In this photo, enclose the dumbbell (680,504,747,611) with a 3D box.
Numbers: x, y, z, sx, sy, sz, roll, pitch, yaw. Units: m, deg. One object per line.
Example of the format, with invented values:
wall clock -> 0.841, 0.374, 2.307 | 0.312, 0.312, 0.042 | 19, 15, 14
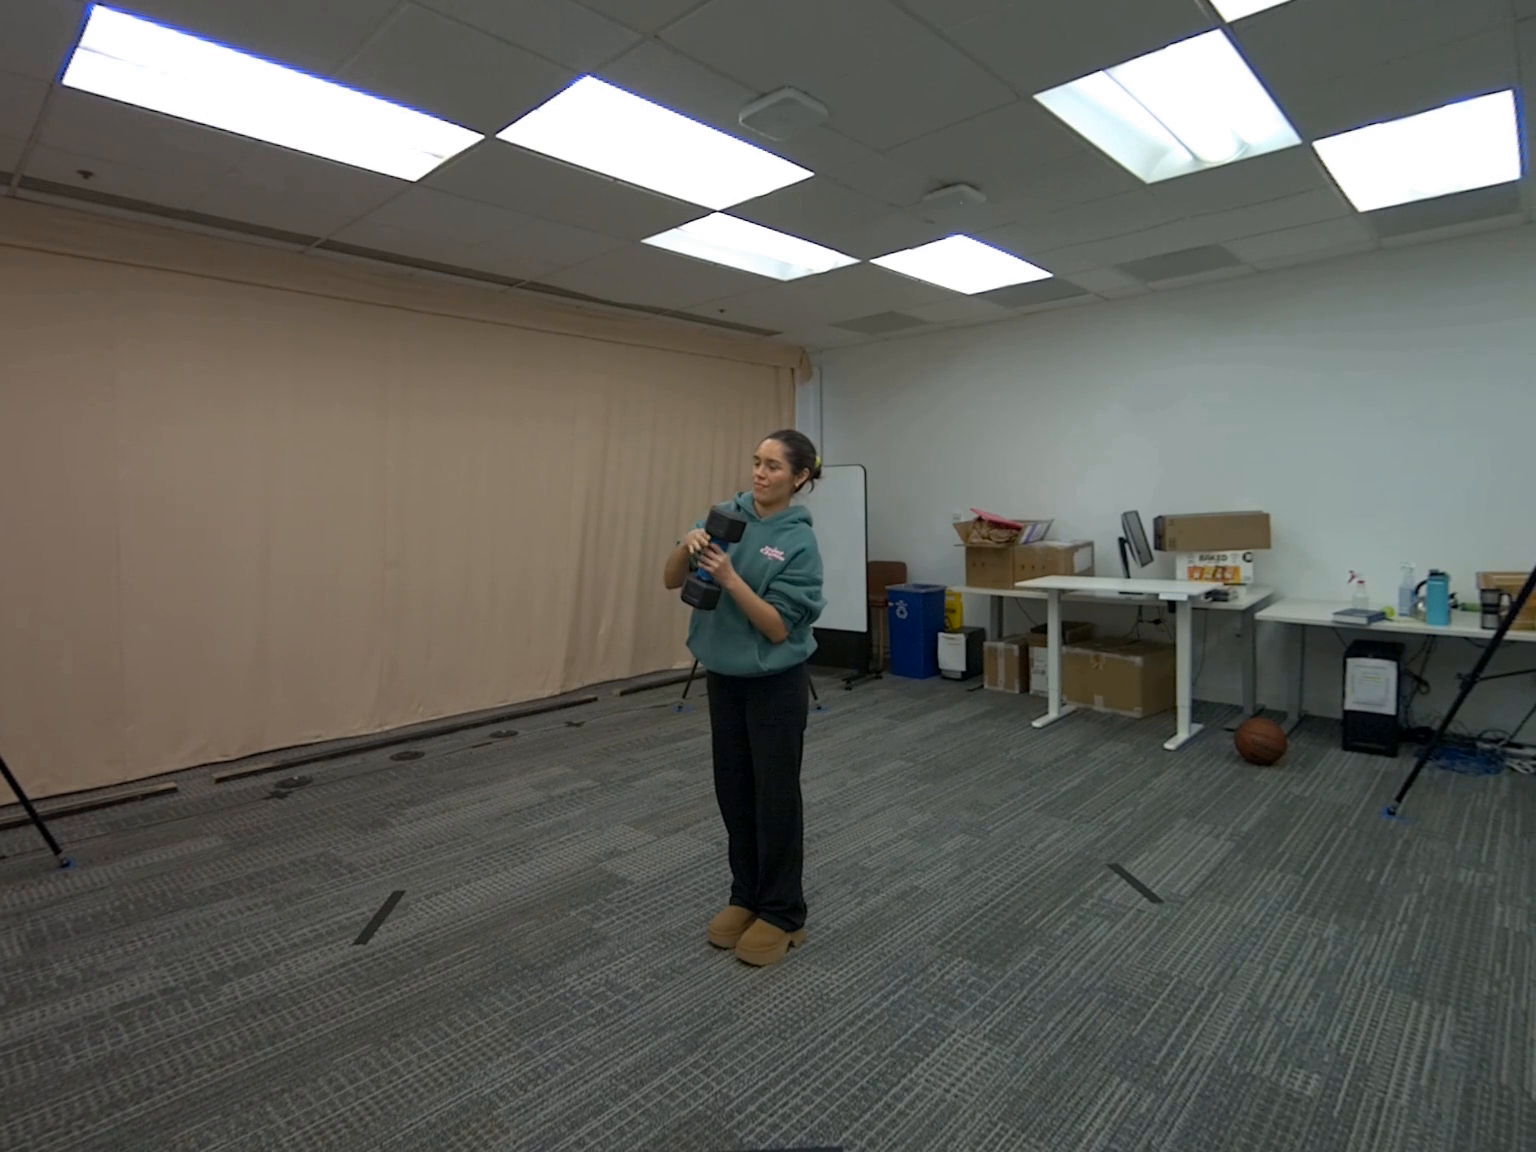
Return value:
dumbbell -> -0.149, -0.047, 2.432 | 0.108, 0.293, 0.124 | 21, 11, -8
